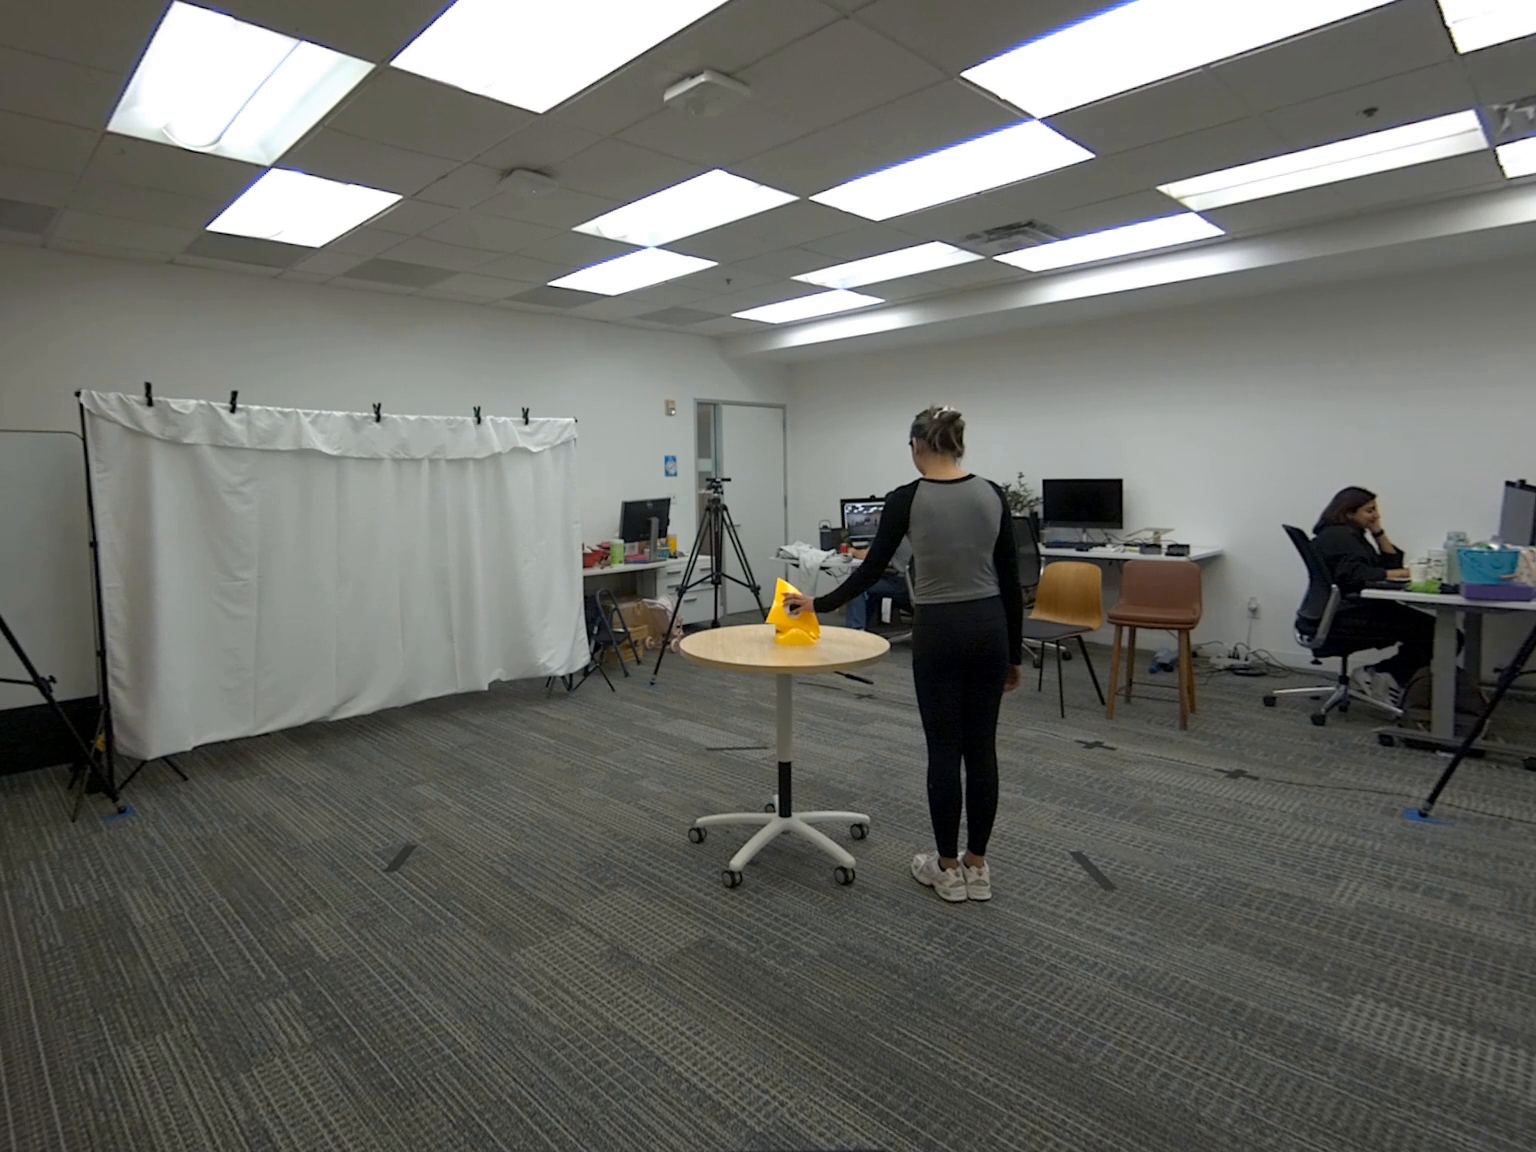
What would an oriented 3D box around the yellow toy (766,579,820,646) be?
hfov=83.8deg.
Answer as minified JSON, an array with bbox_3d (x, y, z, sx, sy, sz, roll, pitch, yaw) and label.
[{"bbox_3d":[0.105,0.122,3.179,0.195,0.230,0.203,0,5,13],"label":"yellow toy"}]
